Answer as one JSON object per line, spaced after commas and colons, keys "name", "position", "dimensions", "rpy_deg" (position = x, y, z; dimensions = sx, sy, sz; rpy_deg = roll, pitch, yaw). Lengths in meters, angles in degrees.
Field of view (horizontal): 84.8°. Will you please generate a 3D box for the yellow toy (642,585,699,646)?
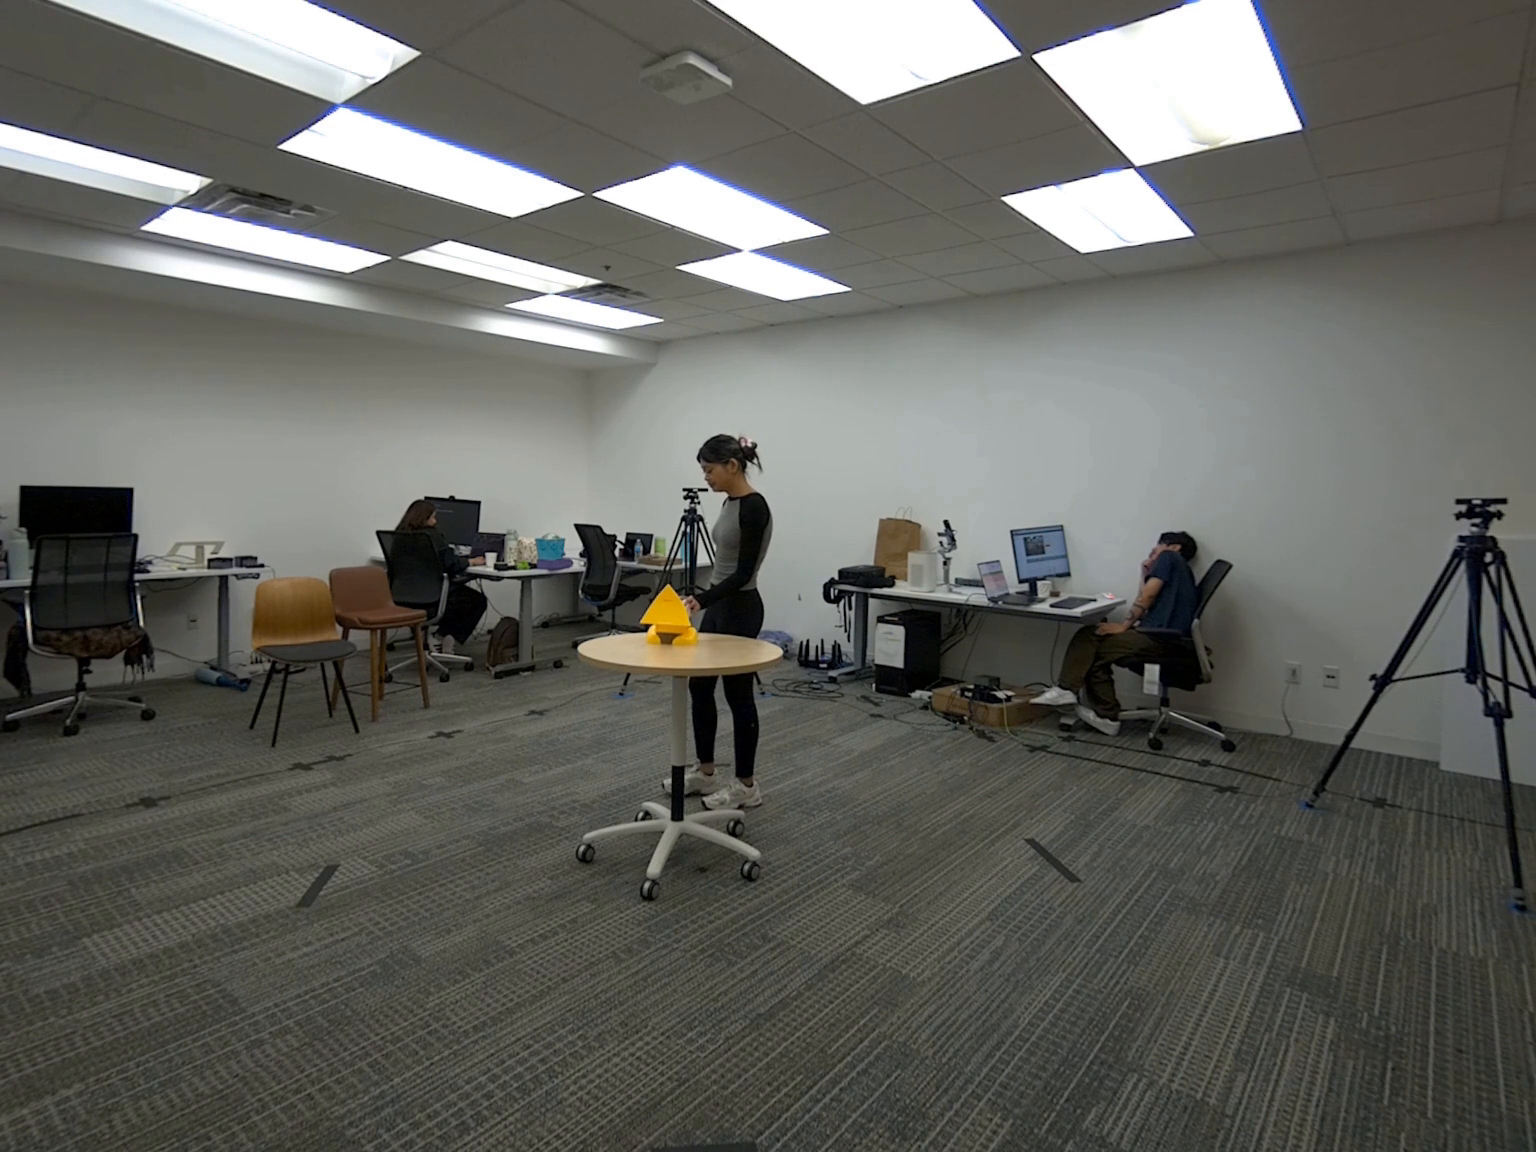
{"name": "yellow toy", "position": [-0.386, 0.139, 3.333], "dimensions": [0.208, 0.230, 0.190], "rpy_deg": [3, 4, 14]}
